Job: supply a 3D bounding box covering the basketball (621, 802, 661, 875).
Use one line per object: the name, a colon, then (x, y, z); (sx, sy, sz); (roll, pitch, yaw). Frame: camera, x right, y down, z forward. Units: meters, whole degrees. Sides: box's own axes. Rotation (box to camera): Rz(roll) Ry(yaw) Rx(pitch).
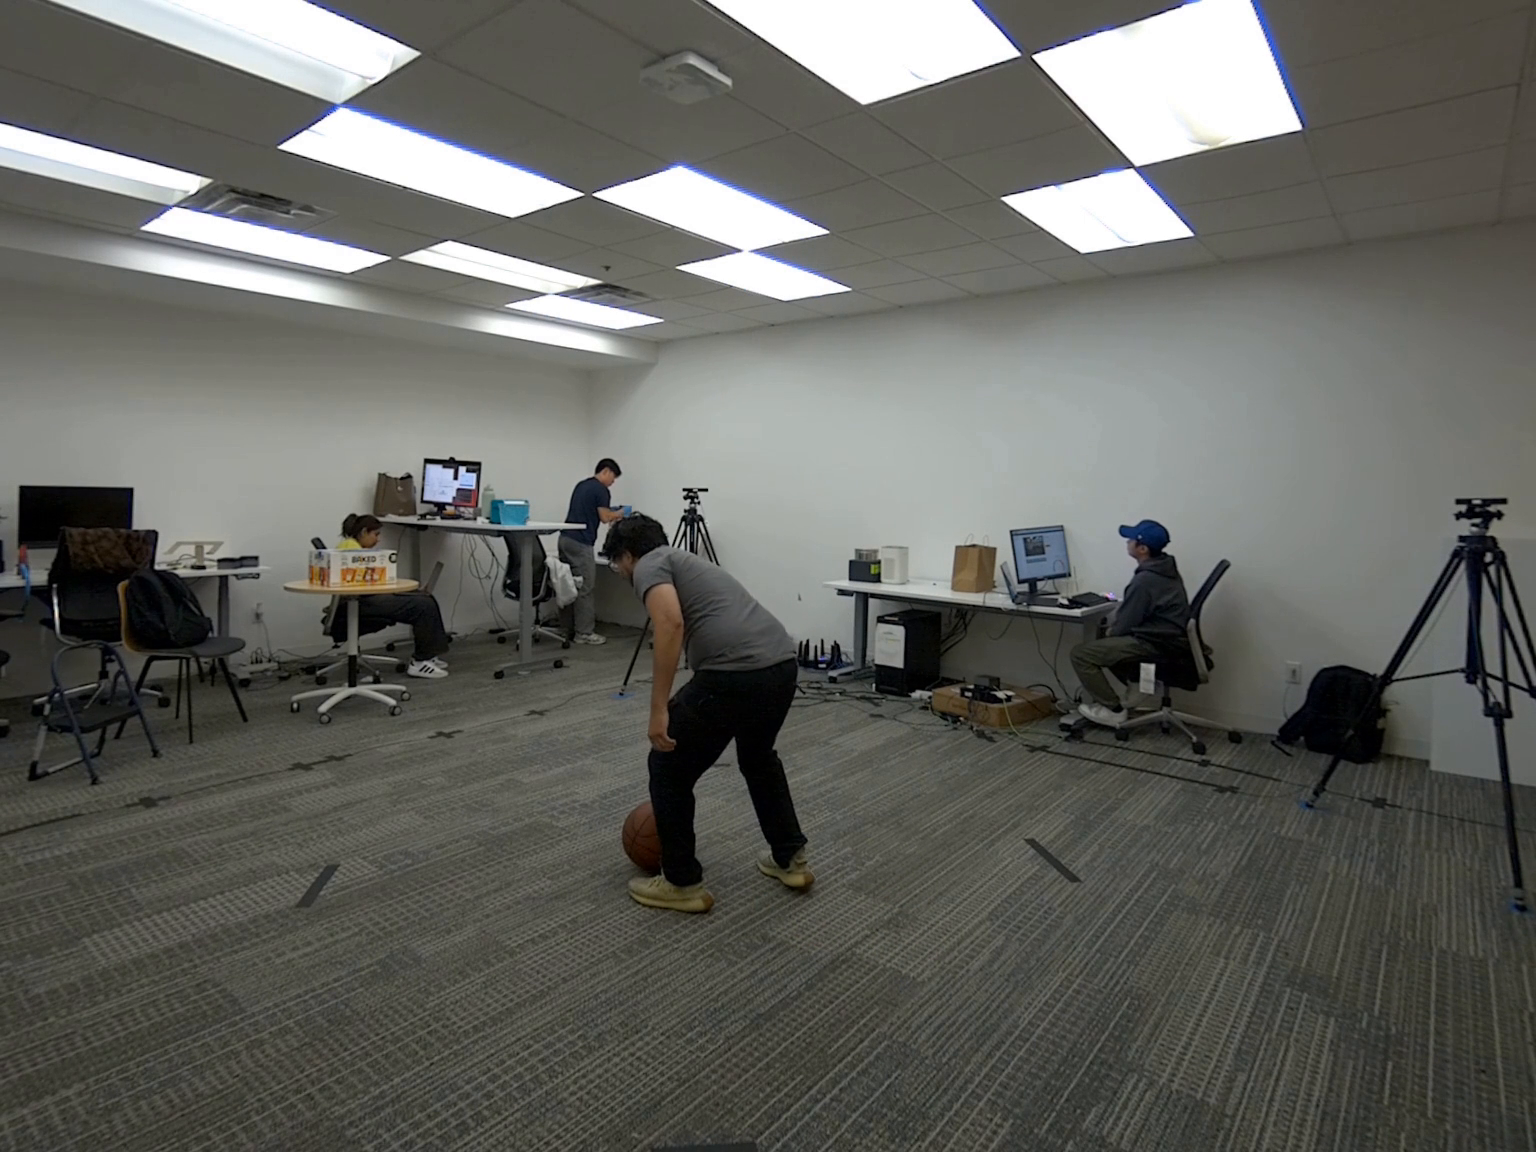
basketball: (-0.425, 0.948, 3.112); (0.235, 0.235, 0.237); (1, 4, -2)
